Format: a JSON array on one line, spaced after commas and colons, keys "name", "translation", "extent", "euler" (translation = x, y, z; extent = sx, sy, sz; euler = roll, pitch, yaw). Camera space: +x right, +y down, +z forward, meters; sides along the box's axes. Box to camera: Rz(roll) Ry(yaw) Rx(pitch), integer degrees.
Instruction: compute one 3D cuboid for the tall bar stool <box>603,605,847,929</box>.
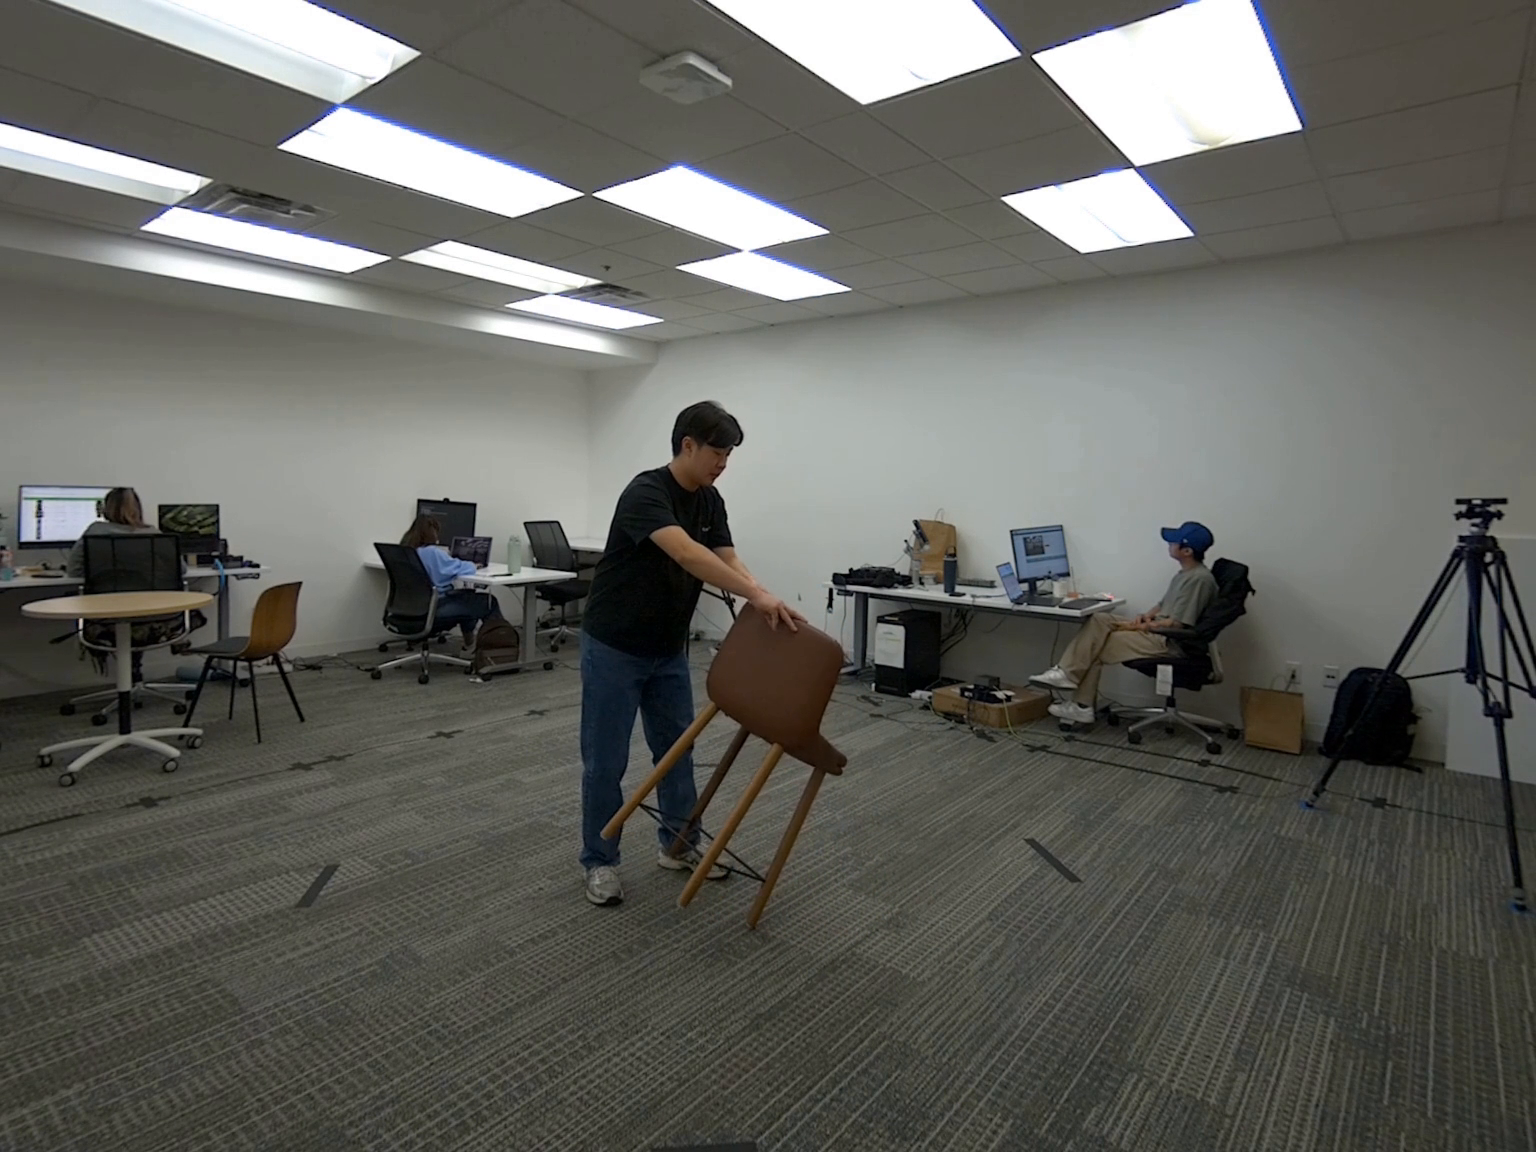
[{"name": "tall bar stool", "translation": [-0.063, 0.584, 2.724], "extent": [0.475, 0.892, 0.448], "euler": [24, -10, 36]}]
